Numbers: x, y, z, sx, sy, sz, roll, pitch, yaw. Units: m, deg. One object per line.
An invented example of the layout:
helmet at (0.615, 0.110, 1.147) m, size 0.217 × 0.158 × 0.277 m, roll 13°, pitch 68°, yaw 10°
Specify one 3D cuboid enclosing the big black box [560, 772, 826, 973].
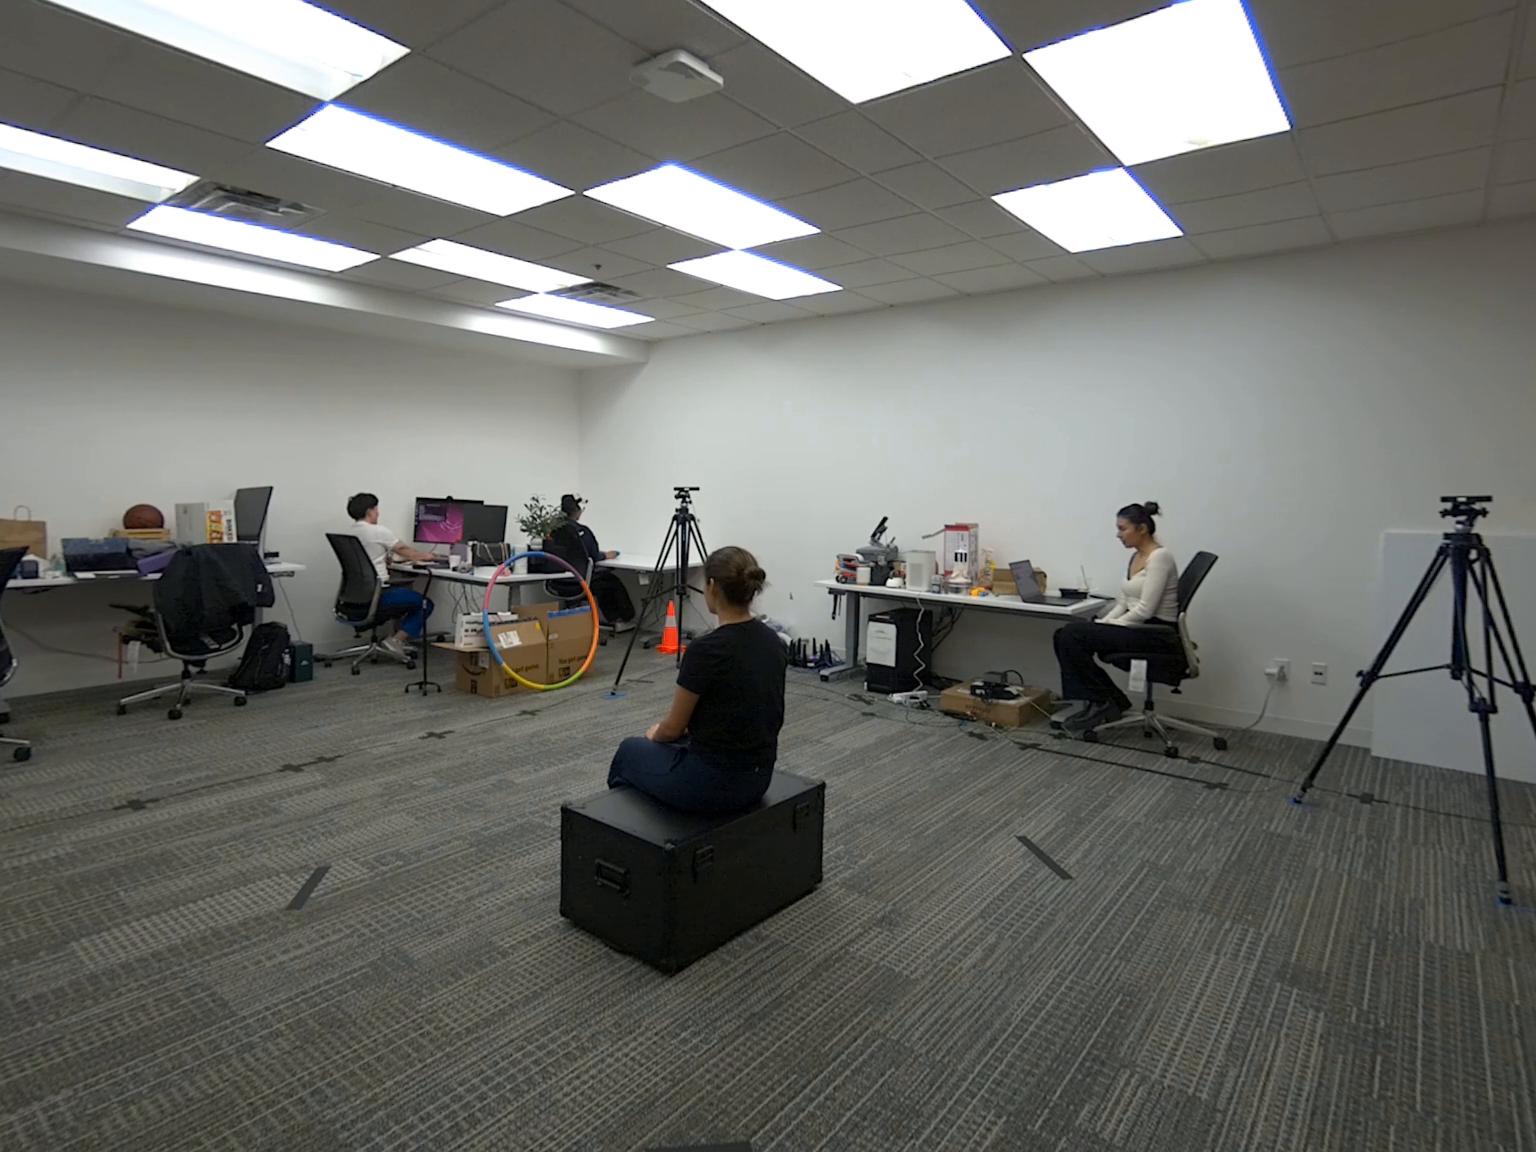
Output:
big black box at (-0.199, 0.903, 2.863) m, size 0.539 × 0.394 × 0.837 m, roll 5°, pitch 7°, yaw 39°
